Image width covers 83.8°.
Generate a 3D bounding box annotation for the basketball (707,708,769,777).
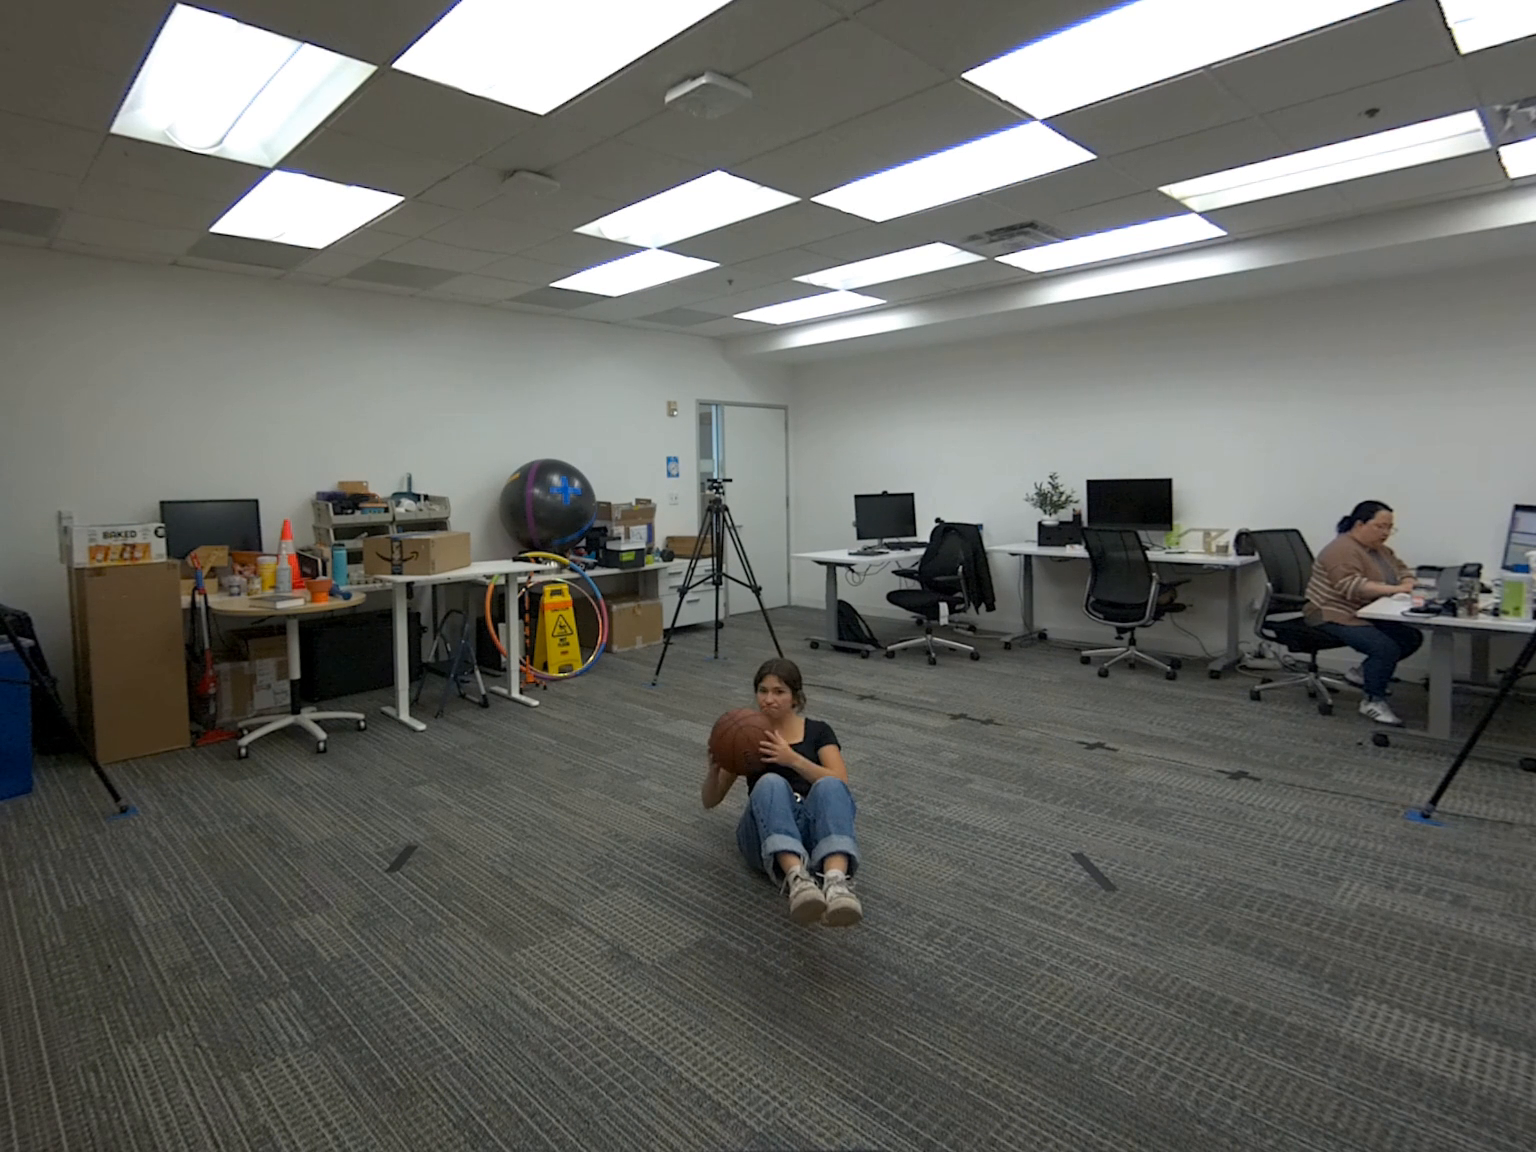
[{"bbox_3d":[-0.090,0.616,3.090,0.236,0.235,0.237,-1,5,-2],"label":"basketball"}]
